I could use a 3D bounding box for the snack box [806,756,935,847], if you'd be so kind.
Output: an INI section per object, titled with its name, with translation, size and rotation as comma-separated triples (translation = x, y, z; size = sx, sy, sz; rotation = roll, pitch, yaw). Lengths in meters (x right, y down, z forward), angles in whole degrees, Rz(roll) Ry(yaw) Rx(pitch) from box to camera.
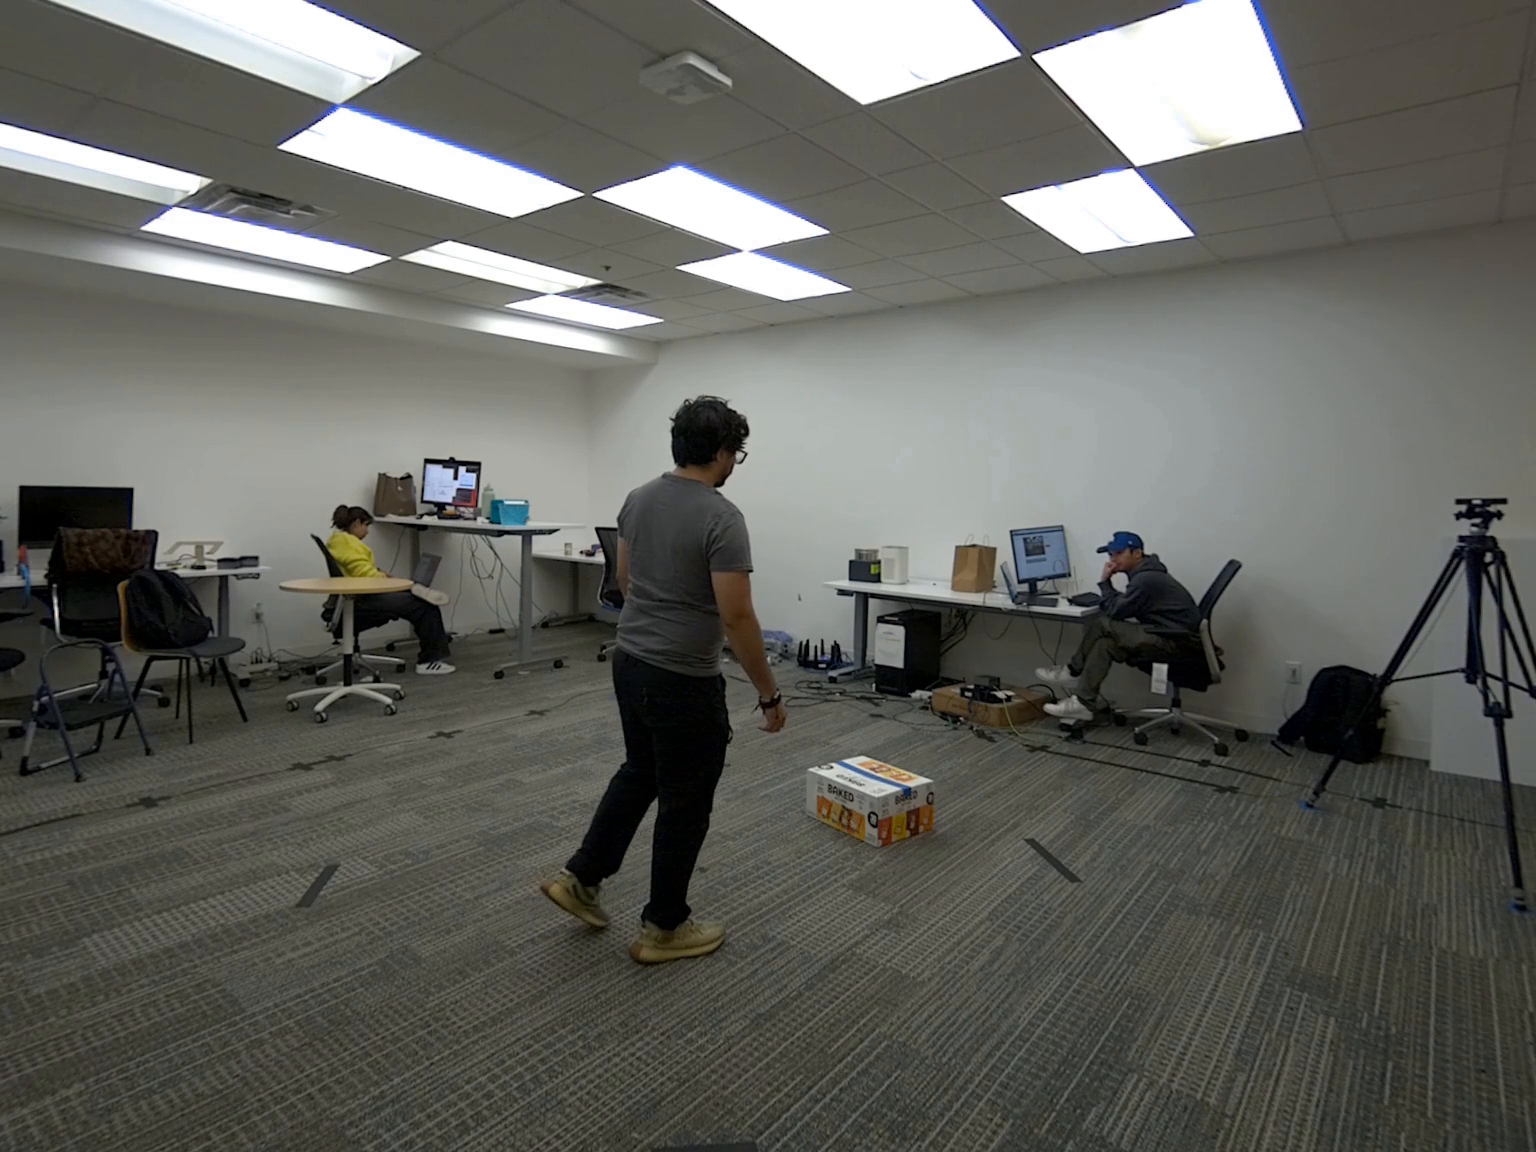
[snack box]
translation = 0.418, 0.934, 3.587
size = 0.330, 0.205, 0.419
rotation = -2, 7, -39
